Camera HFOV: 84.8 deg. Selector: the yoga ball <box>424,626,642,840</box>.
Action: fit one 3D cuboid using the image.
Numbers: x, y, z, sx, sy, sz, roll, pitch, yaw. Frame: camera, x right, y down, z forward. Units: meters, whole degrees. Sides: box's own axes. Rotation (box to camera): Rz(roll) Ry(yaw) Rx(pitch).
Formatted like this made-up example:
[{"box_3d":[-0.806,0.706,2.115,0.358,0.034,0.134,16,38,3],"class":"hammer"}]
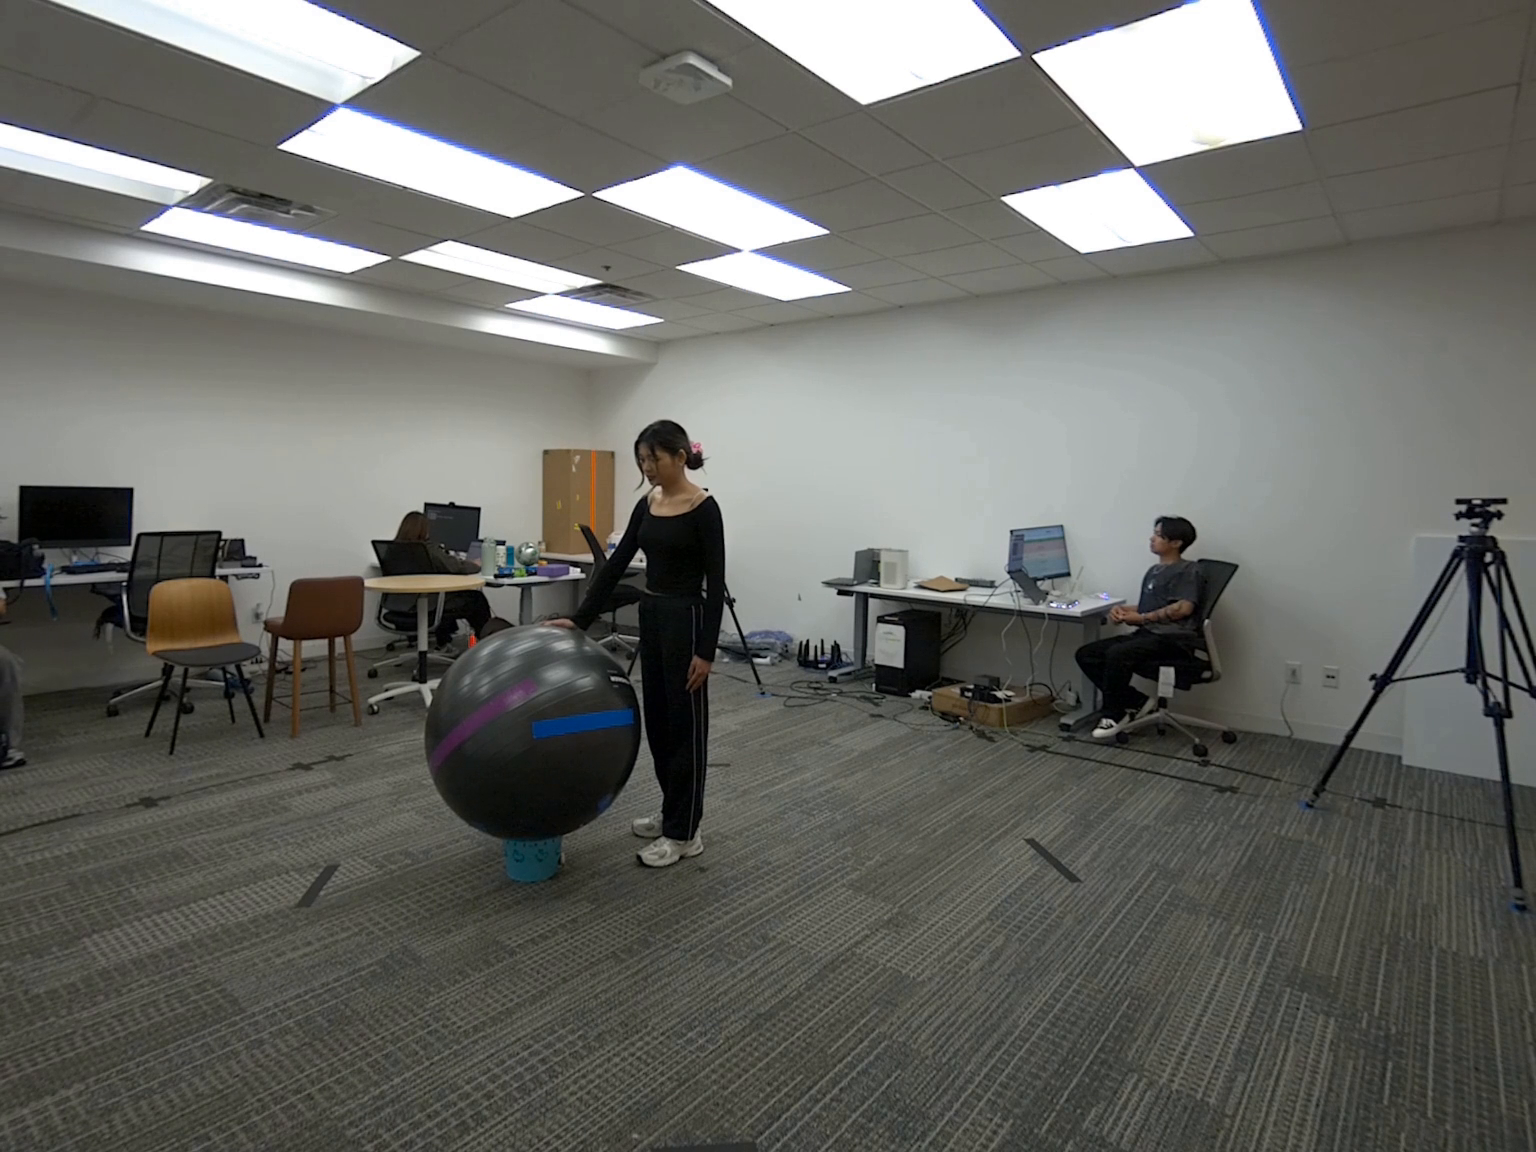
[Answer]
[{"box_3d":[-0.856,0.556,3.050,0.757,0.756,0.762,1,4,-2],"class":"yoga ball"}]
